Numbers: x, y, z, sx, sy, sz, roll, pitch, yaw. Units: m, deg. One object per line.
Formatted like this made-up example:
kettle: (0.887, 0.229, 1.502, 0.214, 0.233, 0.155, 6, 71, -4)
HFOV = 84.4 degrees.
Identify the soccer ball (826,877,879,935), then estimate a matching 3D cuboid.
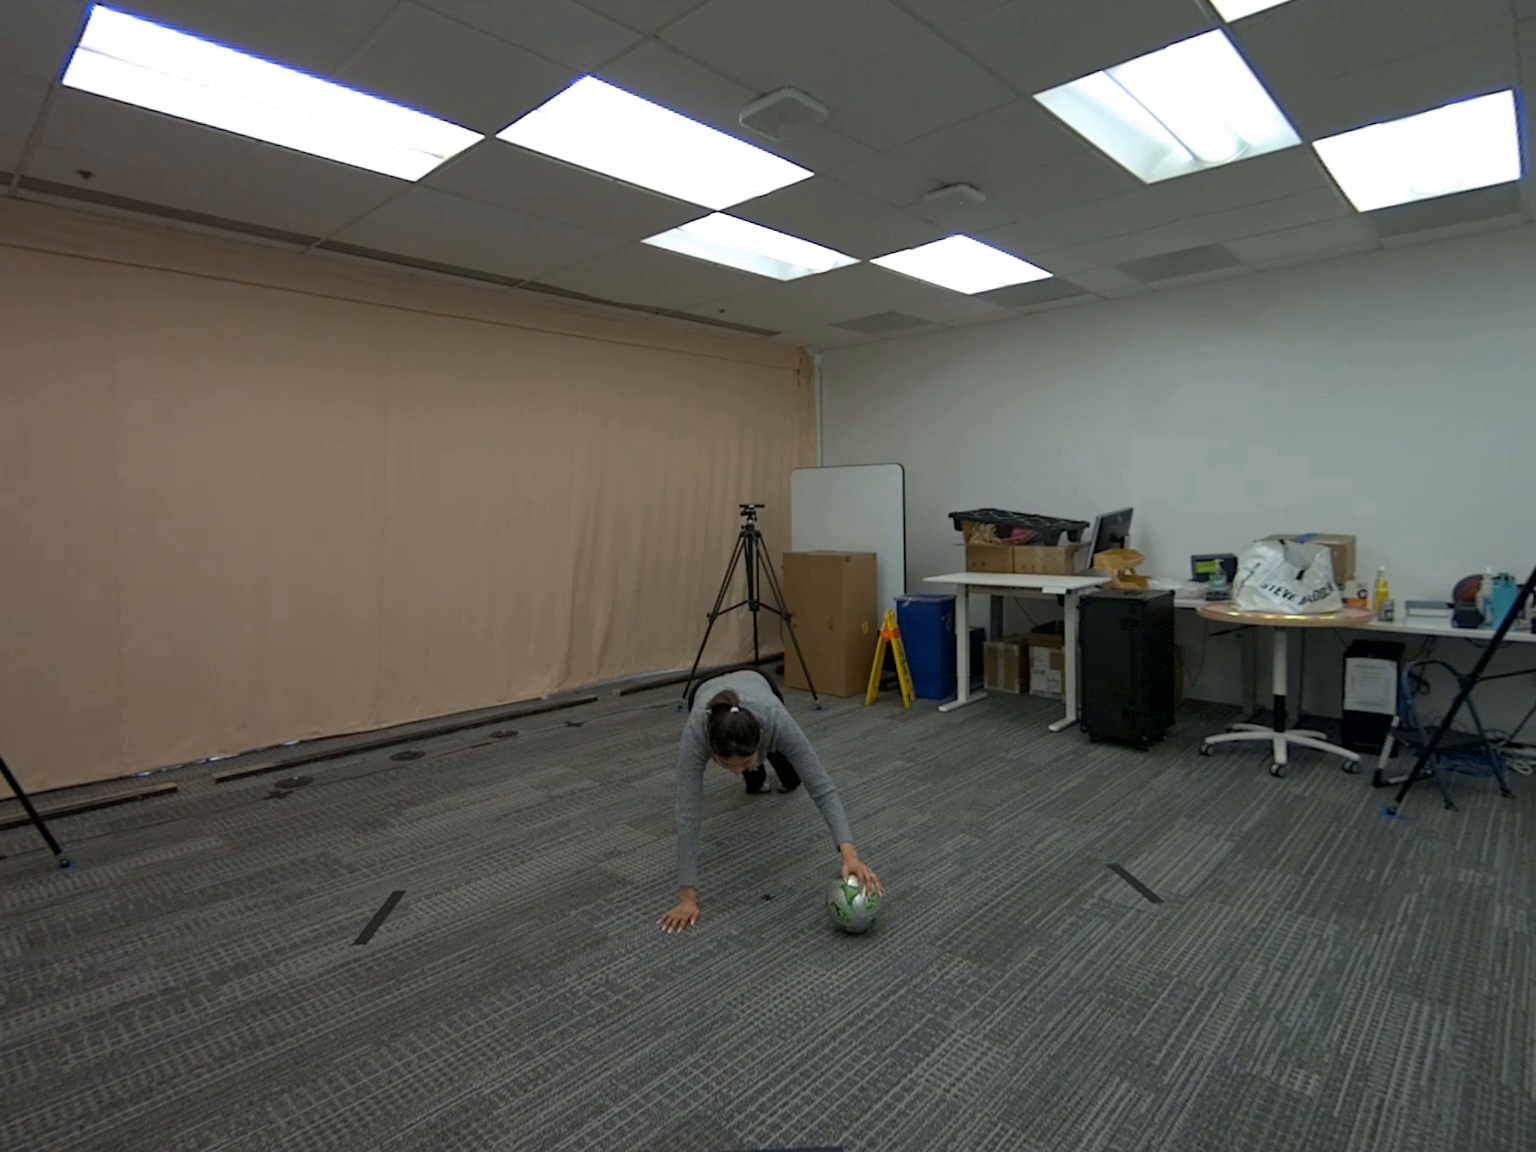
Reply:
soccer ball: (0.278, 1.060, 2.751, 0.187, 0.187, 0.188, -1, 4, -2)
